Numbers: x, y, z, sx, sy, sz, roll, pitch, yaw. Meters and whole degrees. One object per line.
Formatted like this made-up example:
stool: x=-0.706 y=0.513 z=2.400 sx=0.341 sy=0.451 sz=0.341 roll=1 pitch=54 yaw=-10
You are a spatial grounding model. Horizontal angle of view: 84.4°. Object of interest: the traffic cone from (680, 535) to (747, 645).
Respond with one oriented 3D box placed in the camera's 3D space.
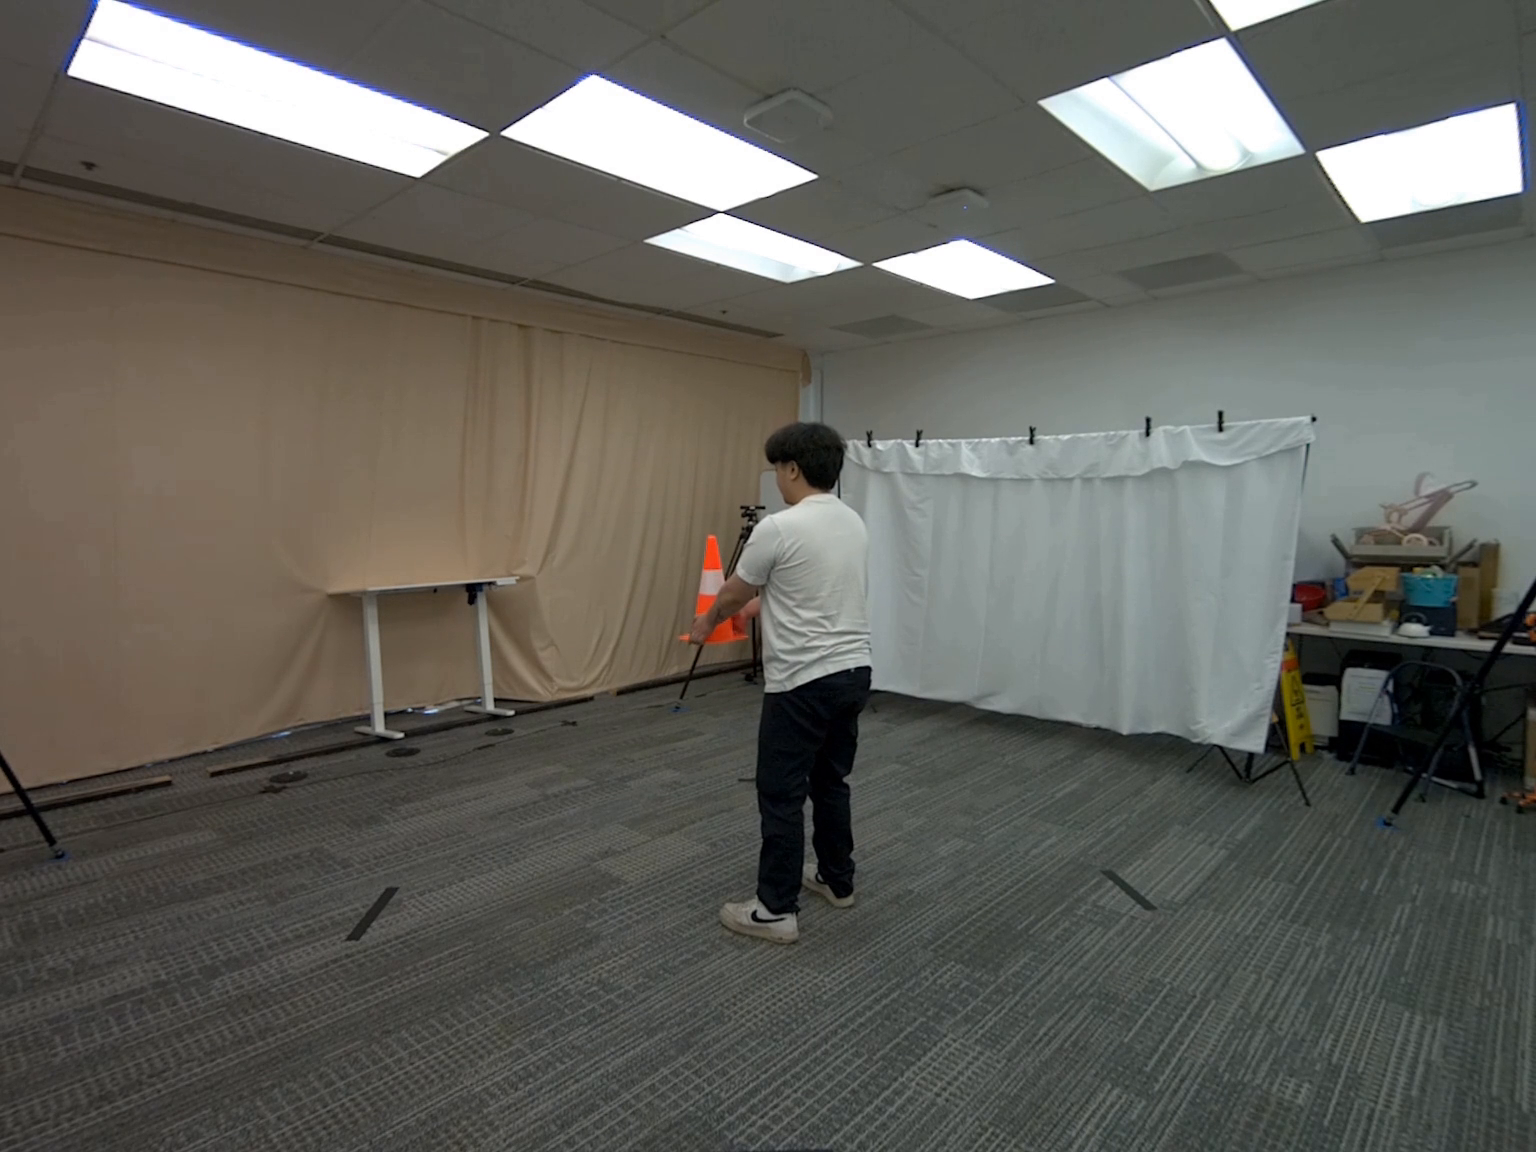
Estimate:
traffic cone: x=-0.214 y=0.040 z=3.152 sx=0.208 sy=0.382 sz=0.201 roll=-1 pitch=7 yaw=23
